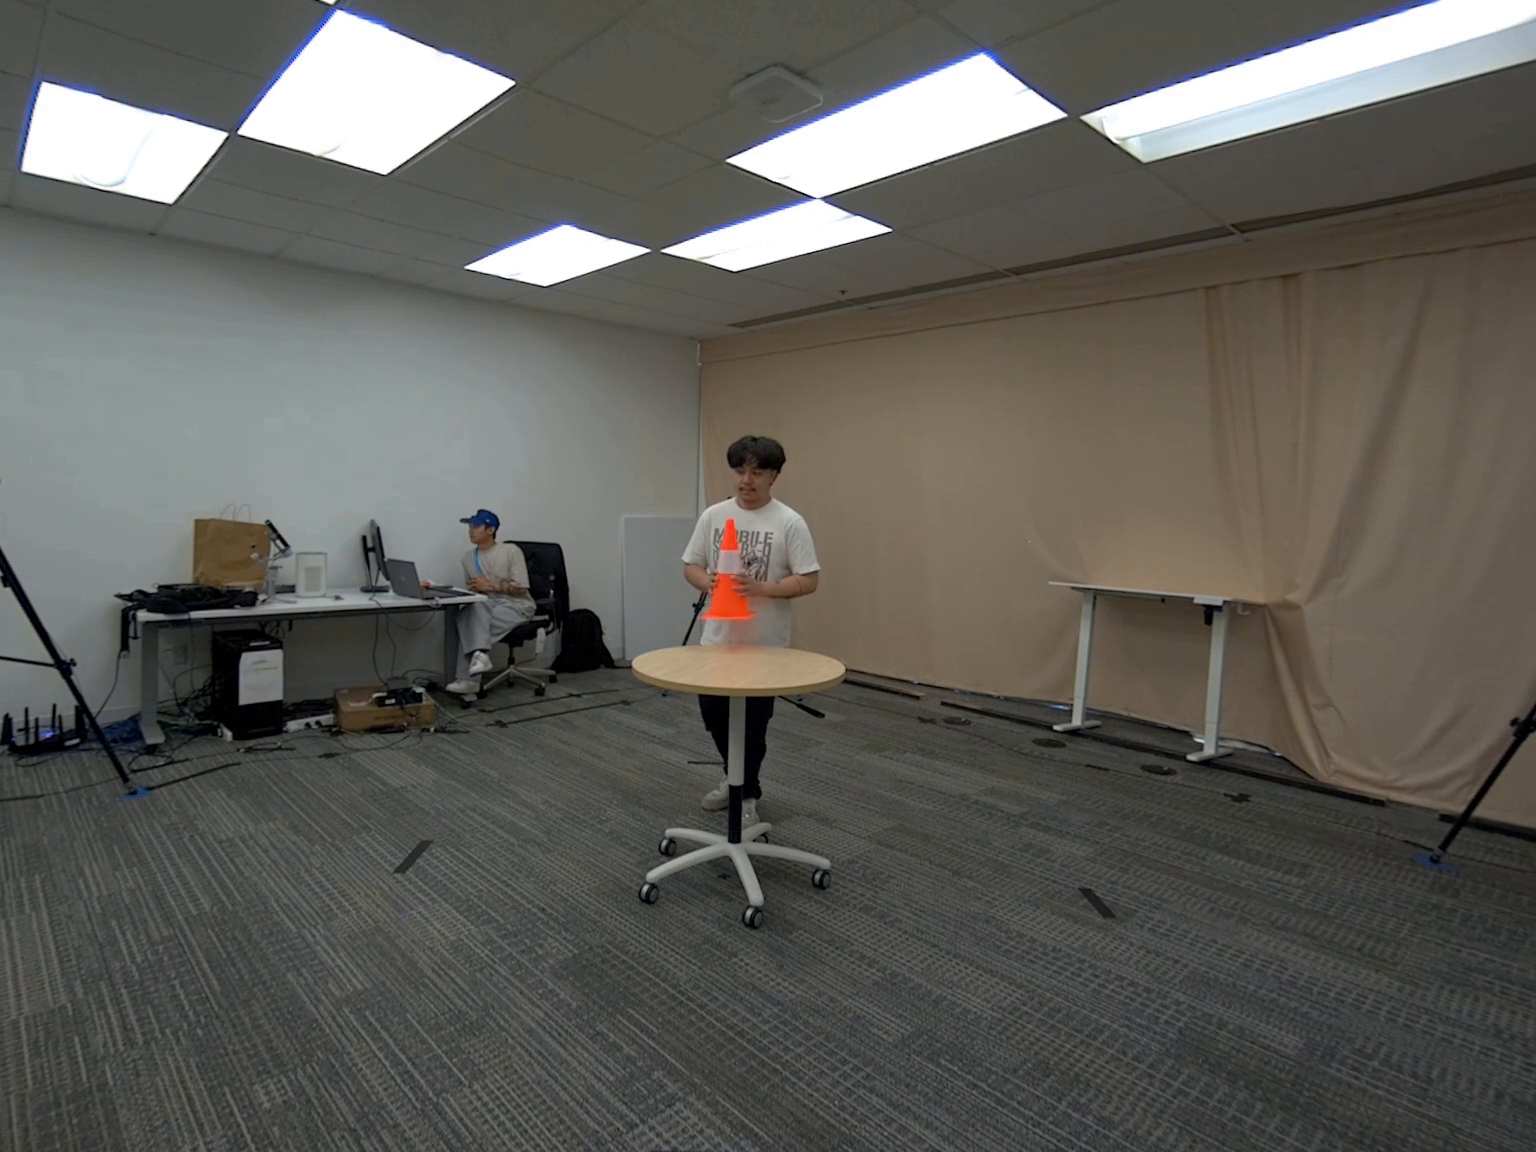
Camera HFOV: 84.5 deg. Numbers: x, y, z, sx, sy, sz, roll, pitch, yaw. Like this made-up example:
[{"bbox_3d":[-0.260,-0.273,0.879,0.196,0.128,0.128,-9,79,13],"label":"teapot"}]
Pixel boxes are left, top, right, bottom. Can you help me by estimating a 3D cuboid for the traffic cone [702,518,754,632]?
[{"bbox_3d":[-0.165,-0.036,3.311,0.208,0.381,0.201,5,10,20],"label":"traffic cone"}]
